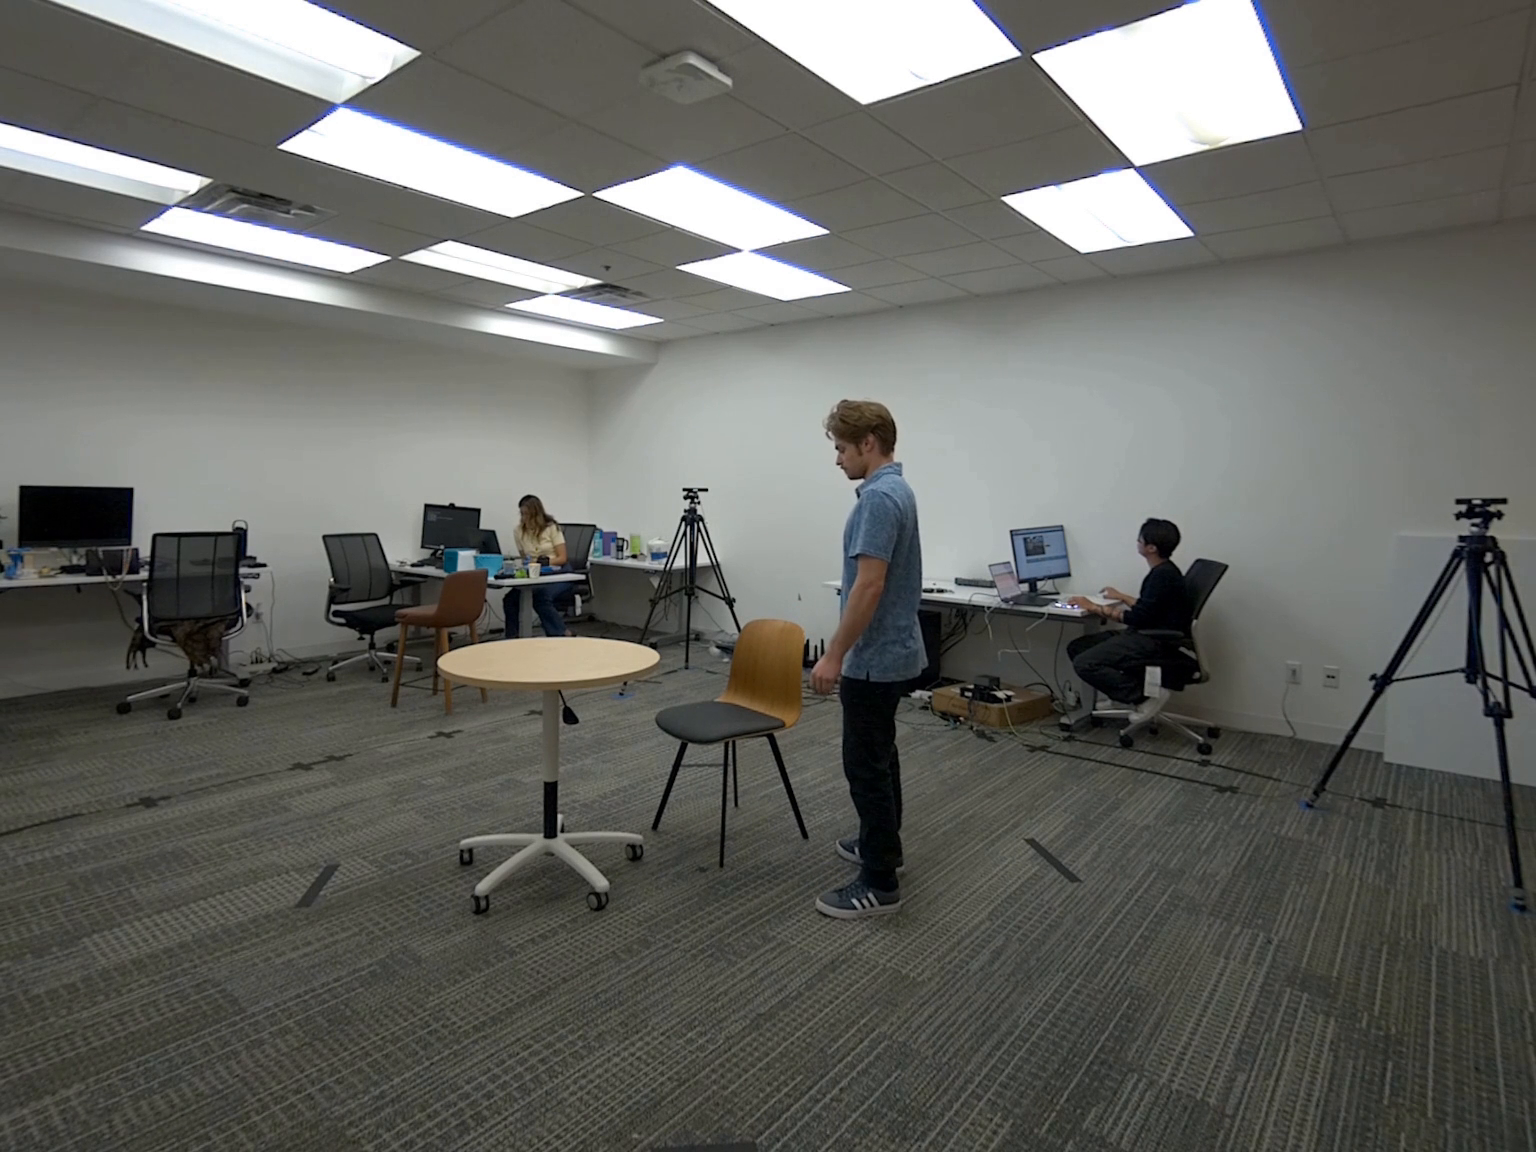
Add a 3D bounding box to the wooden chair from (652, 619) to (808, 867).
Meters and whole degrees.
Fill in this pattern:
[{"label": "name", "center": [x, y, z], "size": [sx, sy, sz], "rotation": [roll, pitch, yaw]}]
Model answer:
[{"label": "wooden chair", "center": [-0.161, 0.614, 3.401], "size": [0.506, 0.877, 0.494], "rotation": [4, 1, -41]}]
